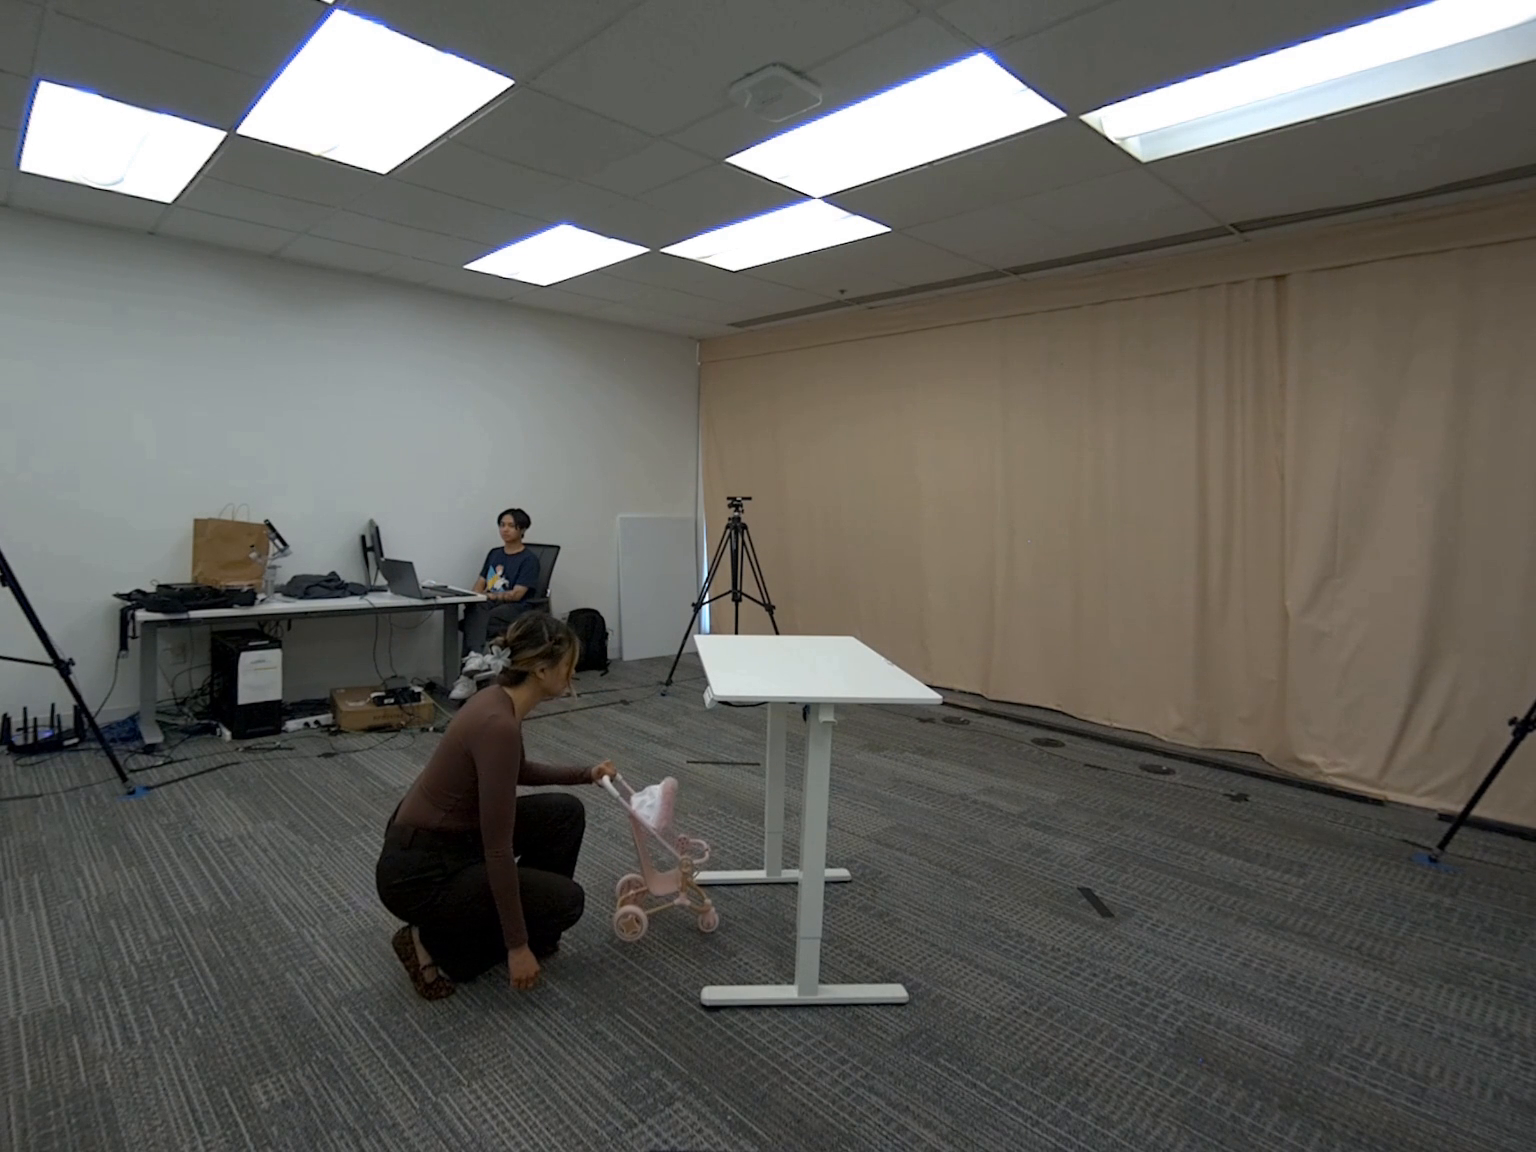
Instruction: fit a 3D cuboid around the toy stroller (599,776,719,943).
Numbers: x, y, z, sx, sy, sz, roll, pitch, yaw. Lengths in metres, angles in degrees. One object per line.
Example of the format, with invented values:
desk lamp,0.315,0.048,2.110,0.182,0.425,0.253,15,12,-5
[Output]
toy stroller,-0.342,0.887,2.685,0.341,0.535,0.282,-5,0,-2
